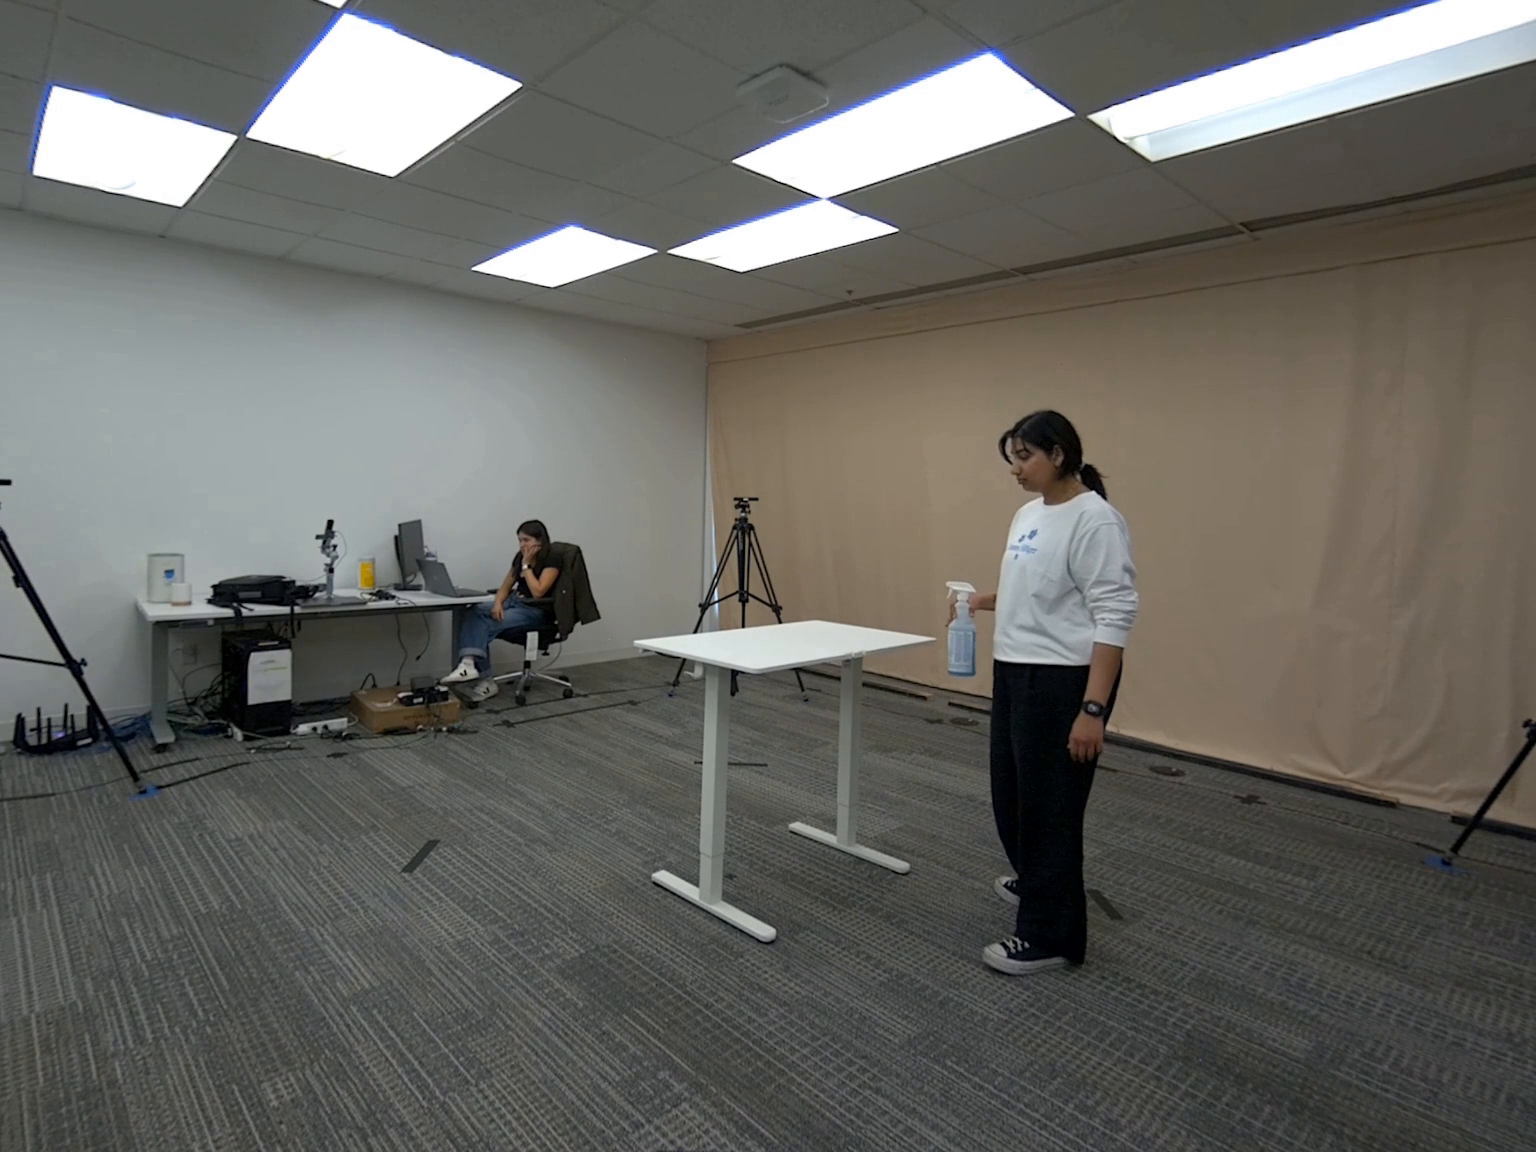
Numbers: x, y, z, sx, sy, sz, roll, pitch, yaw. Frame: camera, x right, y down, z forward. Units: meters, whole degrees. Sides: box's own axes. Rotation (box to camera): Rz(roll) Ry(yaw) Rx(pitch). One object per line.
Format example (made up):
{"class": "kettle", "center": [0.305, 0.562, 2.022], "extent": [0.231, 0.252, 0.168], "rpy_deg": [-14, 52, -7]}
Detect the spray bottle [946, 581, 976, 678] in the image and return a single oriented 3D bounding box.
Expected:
{"class": "spray bottle", "center": [0.618, 0.169, 2.691], "extent": [0.085, 0.298, 0.092], "rpy_deg": [4, -5, -44]}
